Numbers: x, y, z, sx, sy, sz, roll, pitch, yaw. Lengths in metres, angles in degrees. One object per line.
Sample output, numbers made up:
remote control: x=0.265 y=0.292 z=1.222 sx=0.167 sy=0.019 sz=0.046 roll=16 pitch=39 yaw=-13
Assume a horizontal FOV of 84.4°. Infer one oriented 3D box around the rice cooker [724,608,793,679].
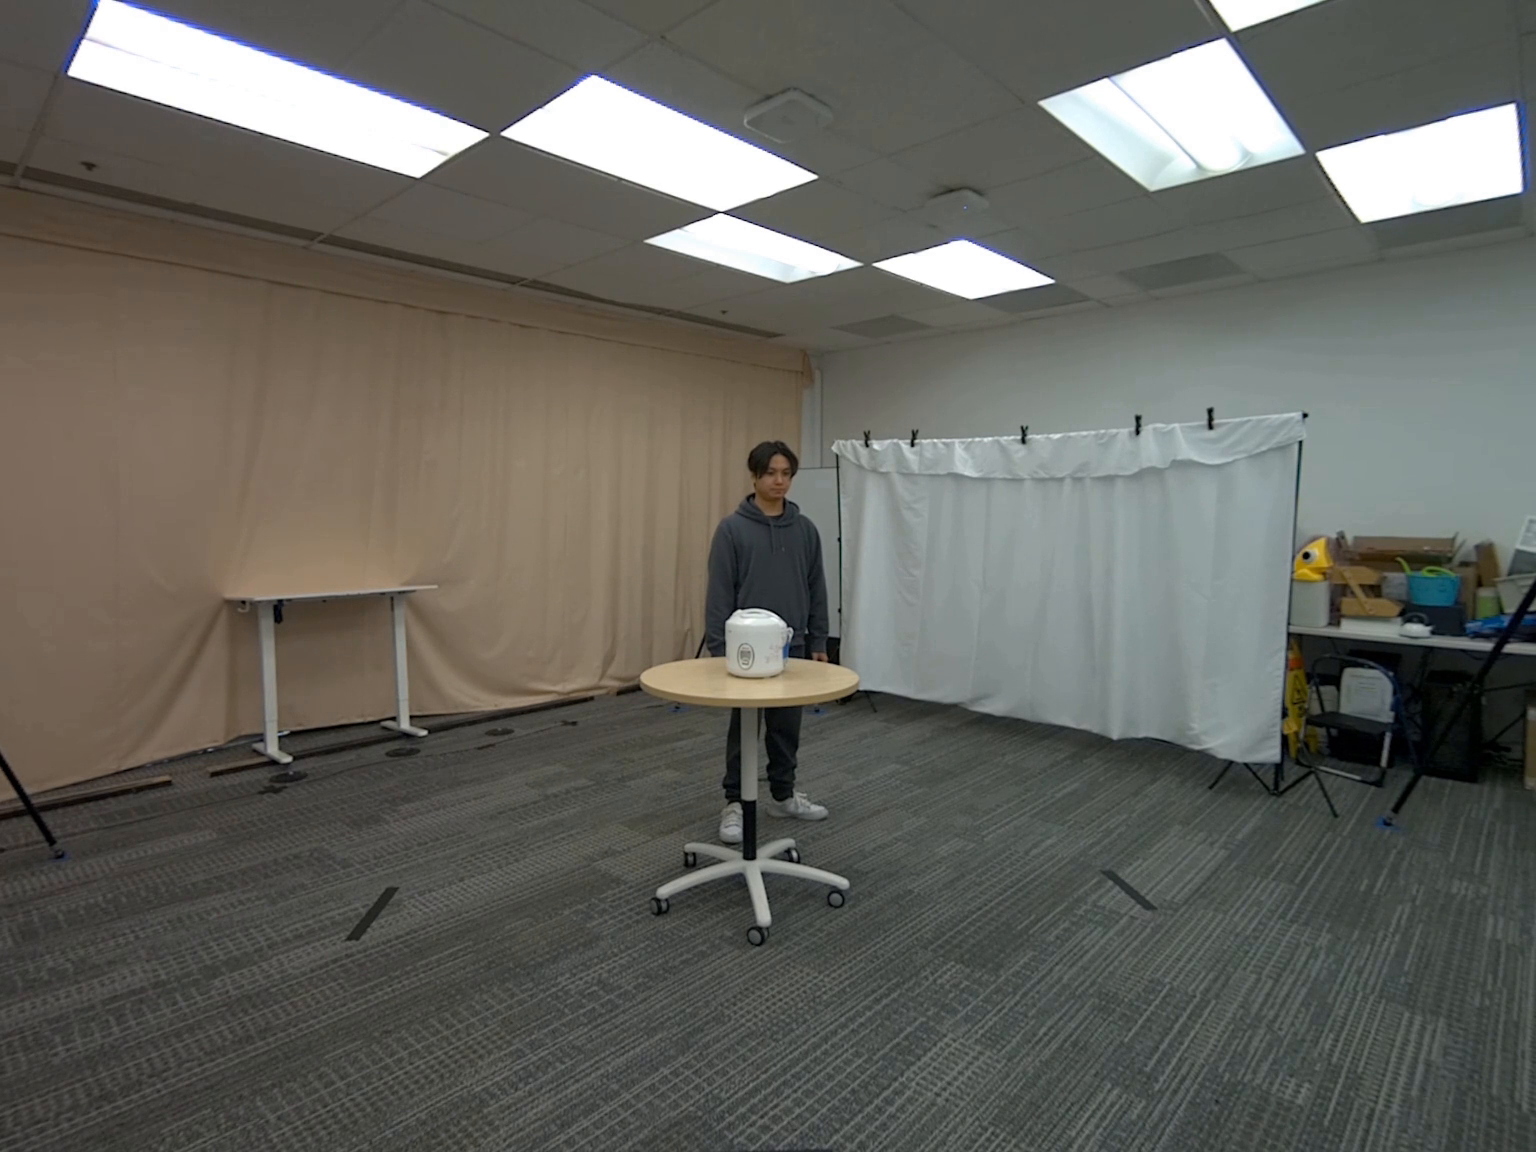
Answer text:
rice cooker: x=-0.041 y=0.230 z=2.975 sx=0.225 sy=0.232 sz=0.213 roll=1 pitch=2 yaw=19
